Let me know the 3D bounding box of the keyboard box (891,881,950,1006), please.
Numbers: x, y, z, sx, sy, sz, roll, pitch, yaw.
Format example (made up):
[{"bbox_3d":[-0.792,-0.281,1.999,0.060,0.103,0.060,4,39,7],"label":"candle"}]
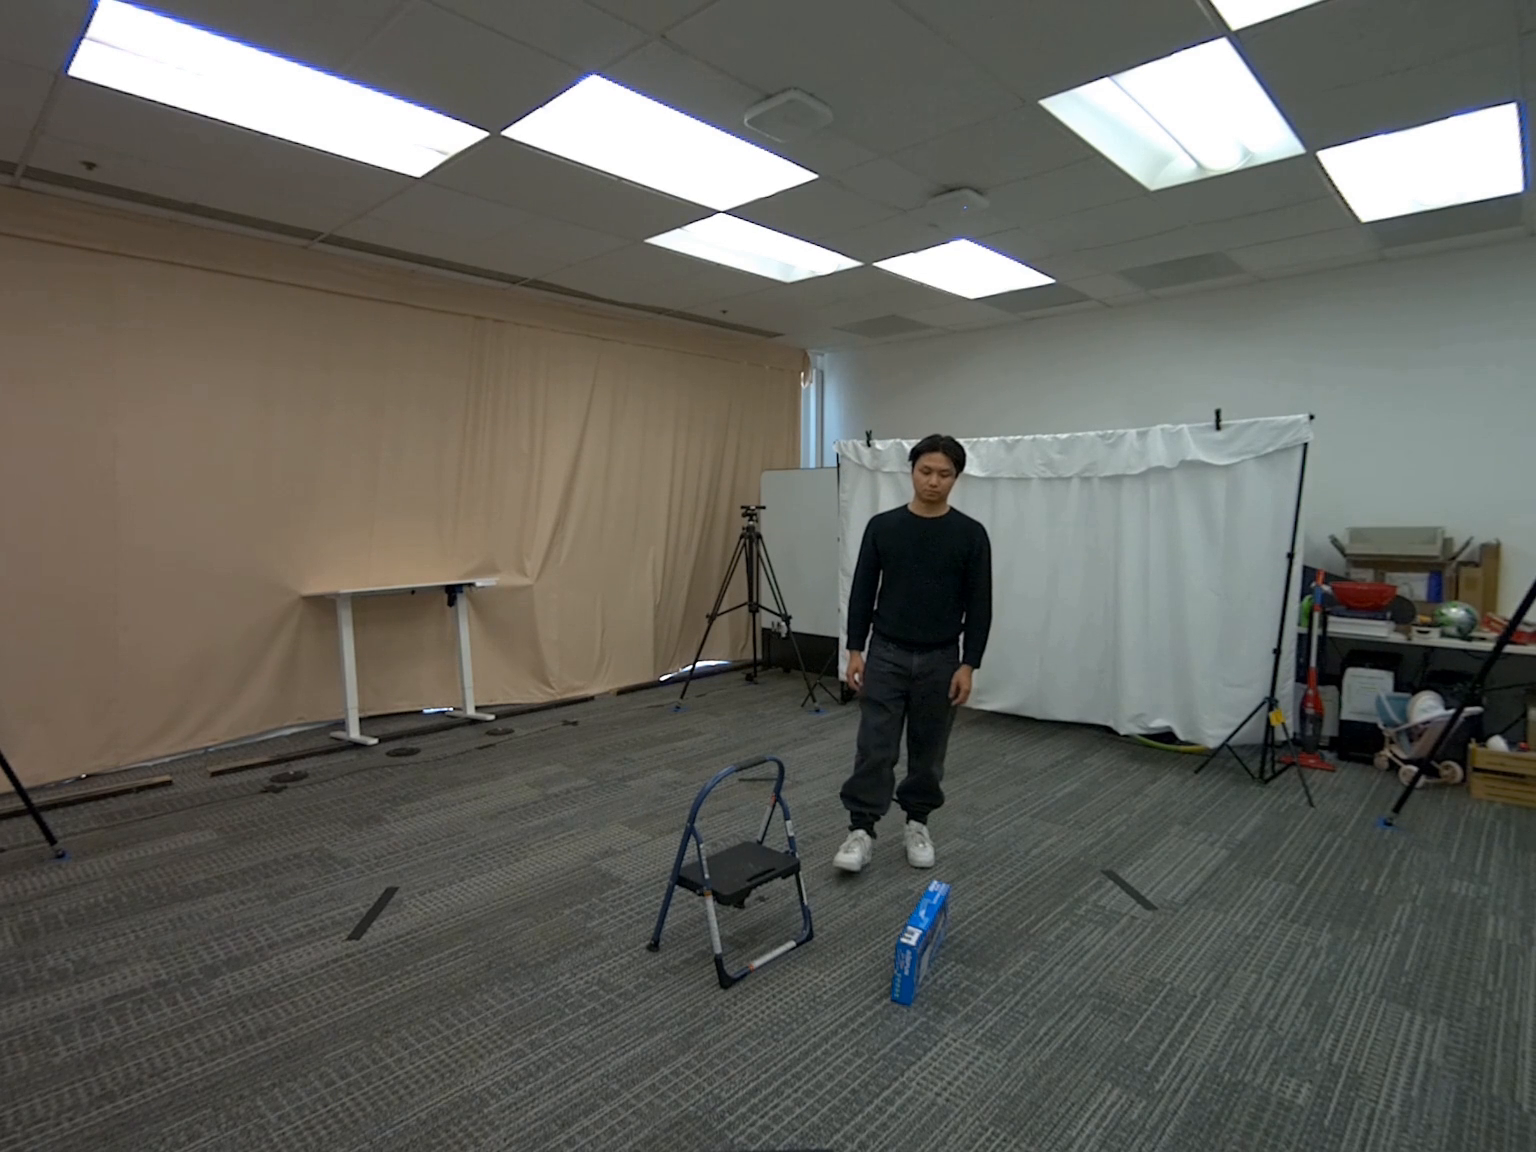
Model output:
[{"bbox_3d":[0.472,1.095,2.529,0.061,0.175,0.426,9,8,25],"label":"keyboard box"}]
